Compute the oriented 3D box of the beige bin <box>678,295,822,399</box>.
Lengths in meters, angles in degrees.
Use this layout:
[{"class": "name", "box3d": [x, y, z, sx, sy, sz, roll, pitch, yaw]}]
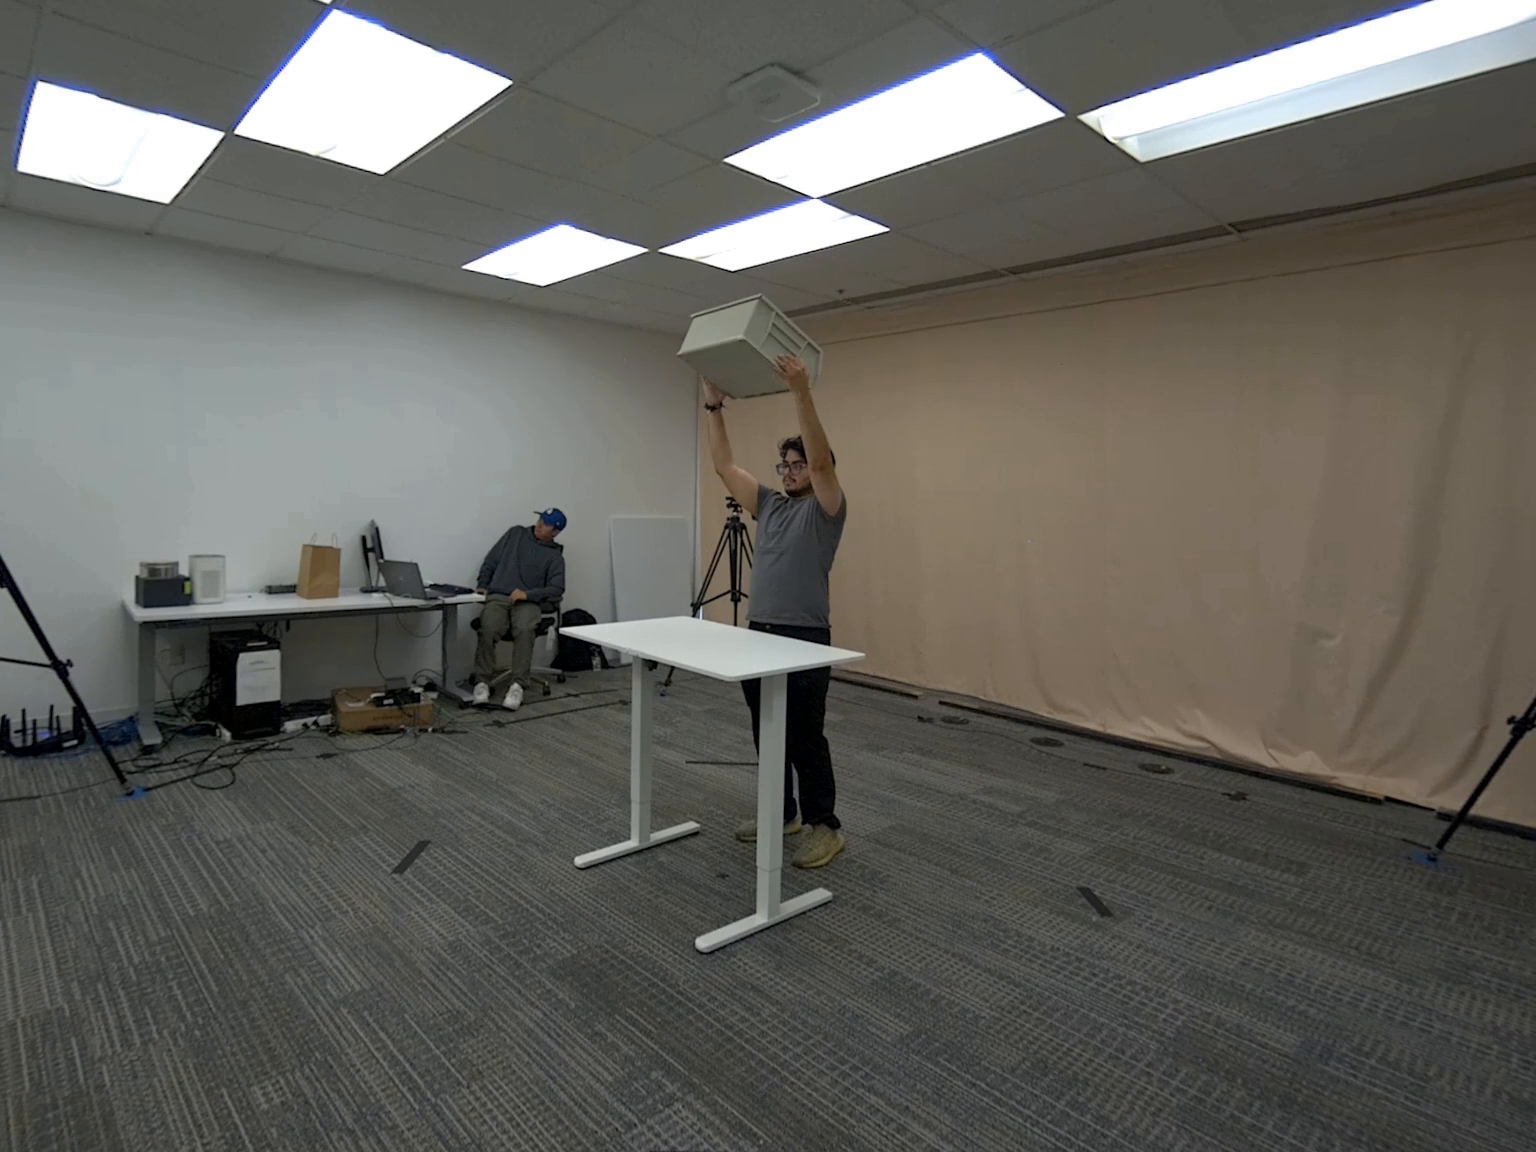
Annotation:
[{"class": "beige bin", "box3d": [-0.074, -0.827, 3.165, 0.366, 0.190, 0.433, 32, -16, -36]}]
